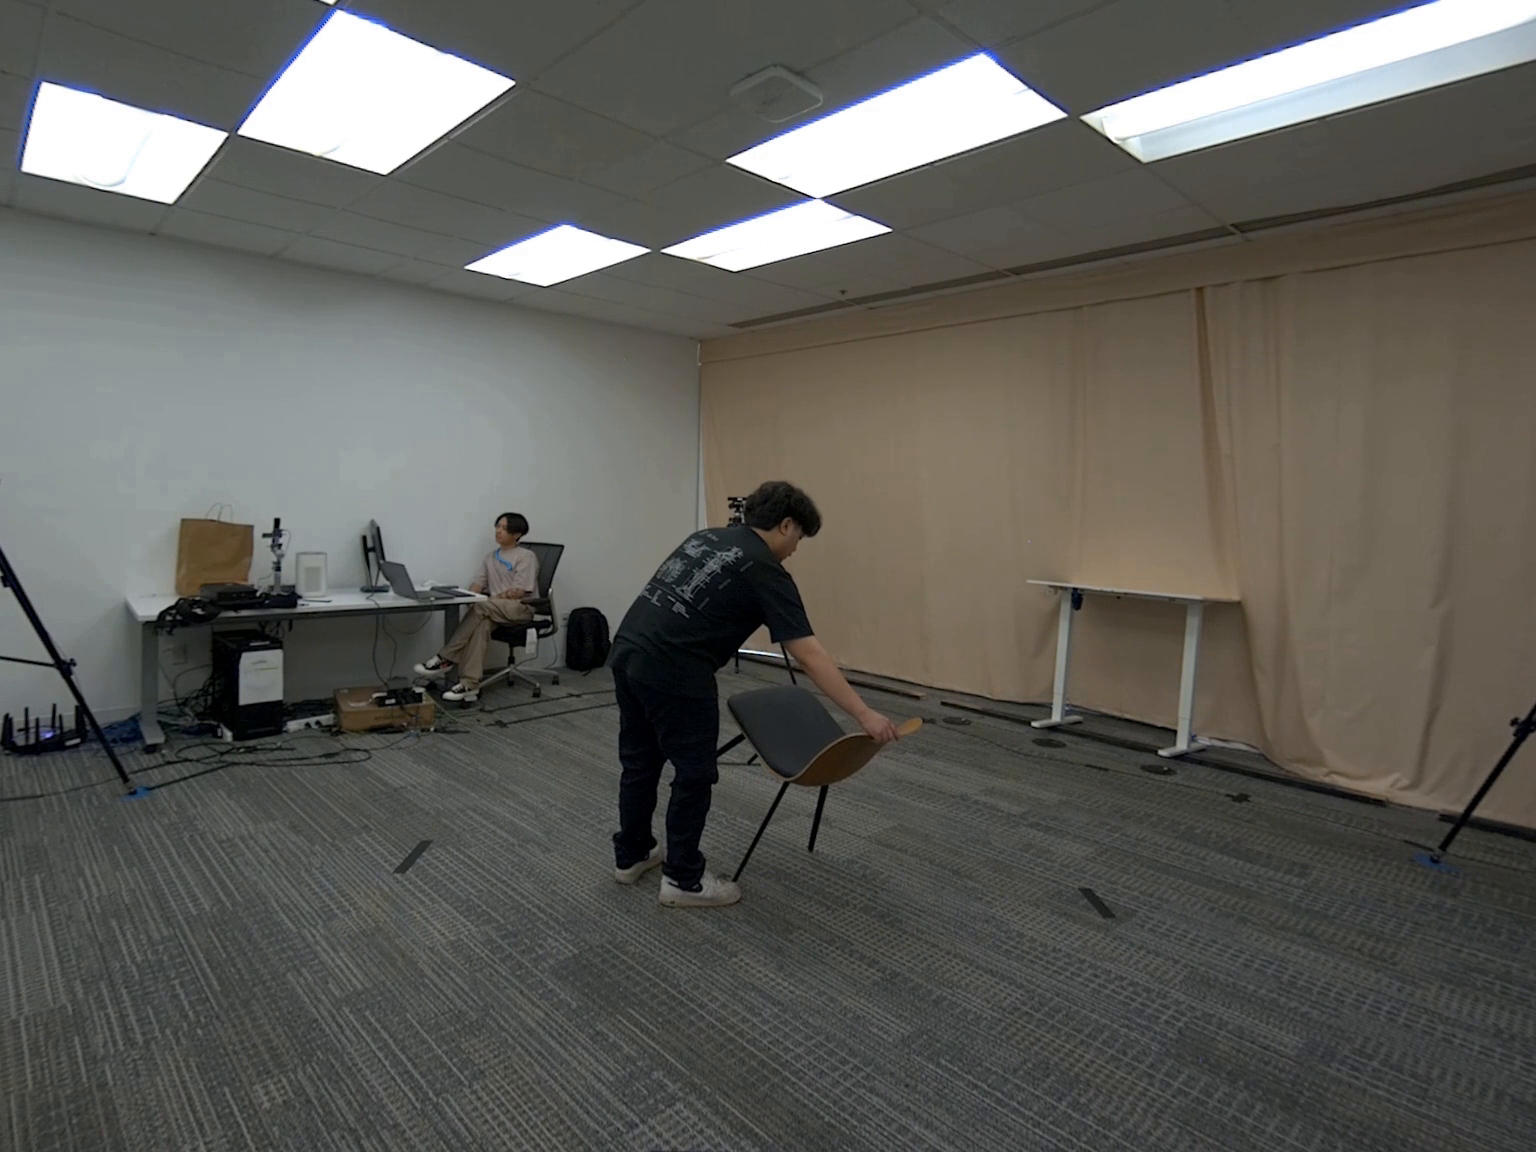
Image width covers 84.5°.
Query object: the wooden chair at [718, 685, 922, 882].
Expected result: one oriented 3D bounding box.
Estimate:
[{"bbox_3d":[0.086,0.634,3.114,0.467,0.873,0.537,-3,48,-46],"label":"wooden chair"}]
